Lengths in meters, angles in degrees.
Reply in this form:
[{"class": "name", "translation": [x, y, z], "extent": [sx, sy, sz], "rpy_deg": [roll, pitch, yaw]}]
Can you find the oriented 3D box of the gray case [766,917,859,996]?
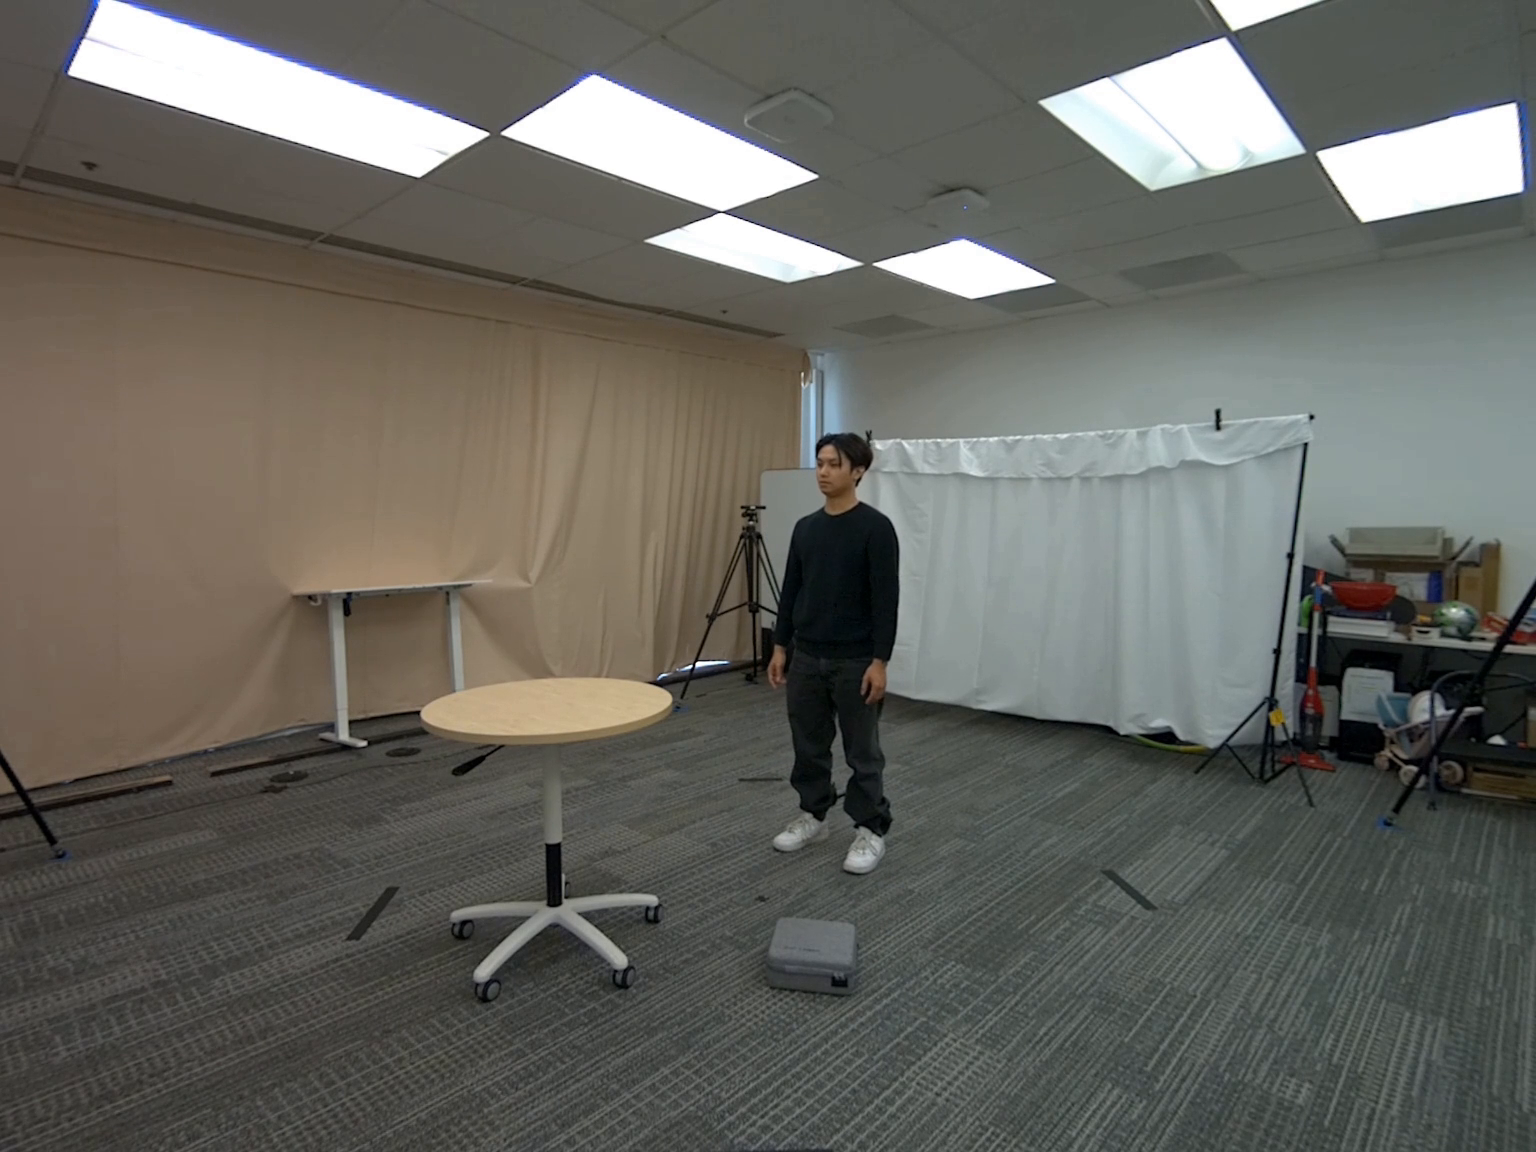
[{"class": "gray case", "translation": [0.131, 1.120, 2.520], "extent": [0.260, 0.104, 0.258], "rpy_deg": [1, 4, 10]}]
